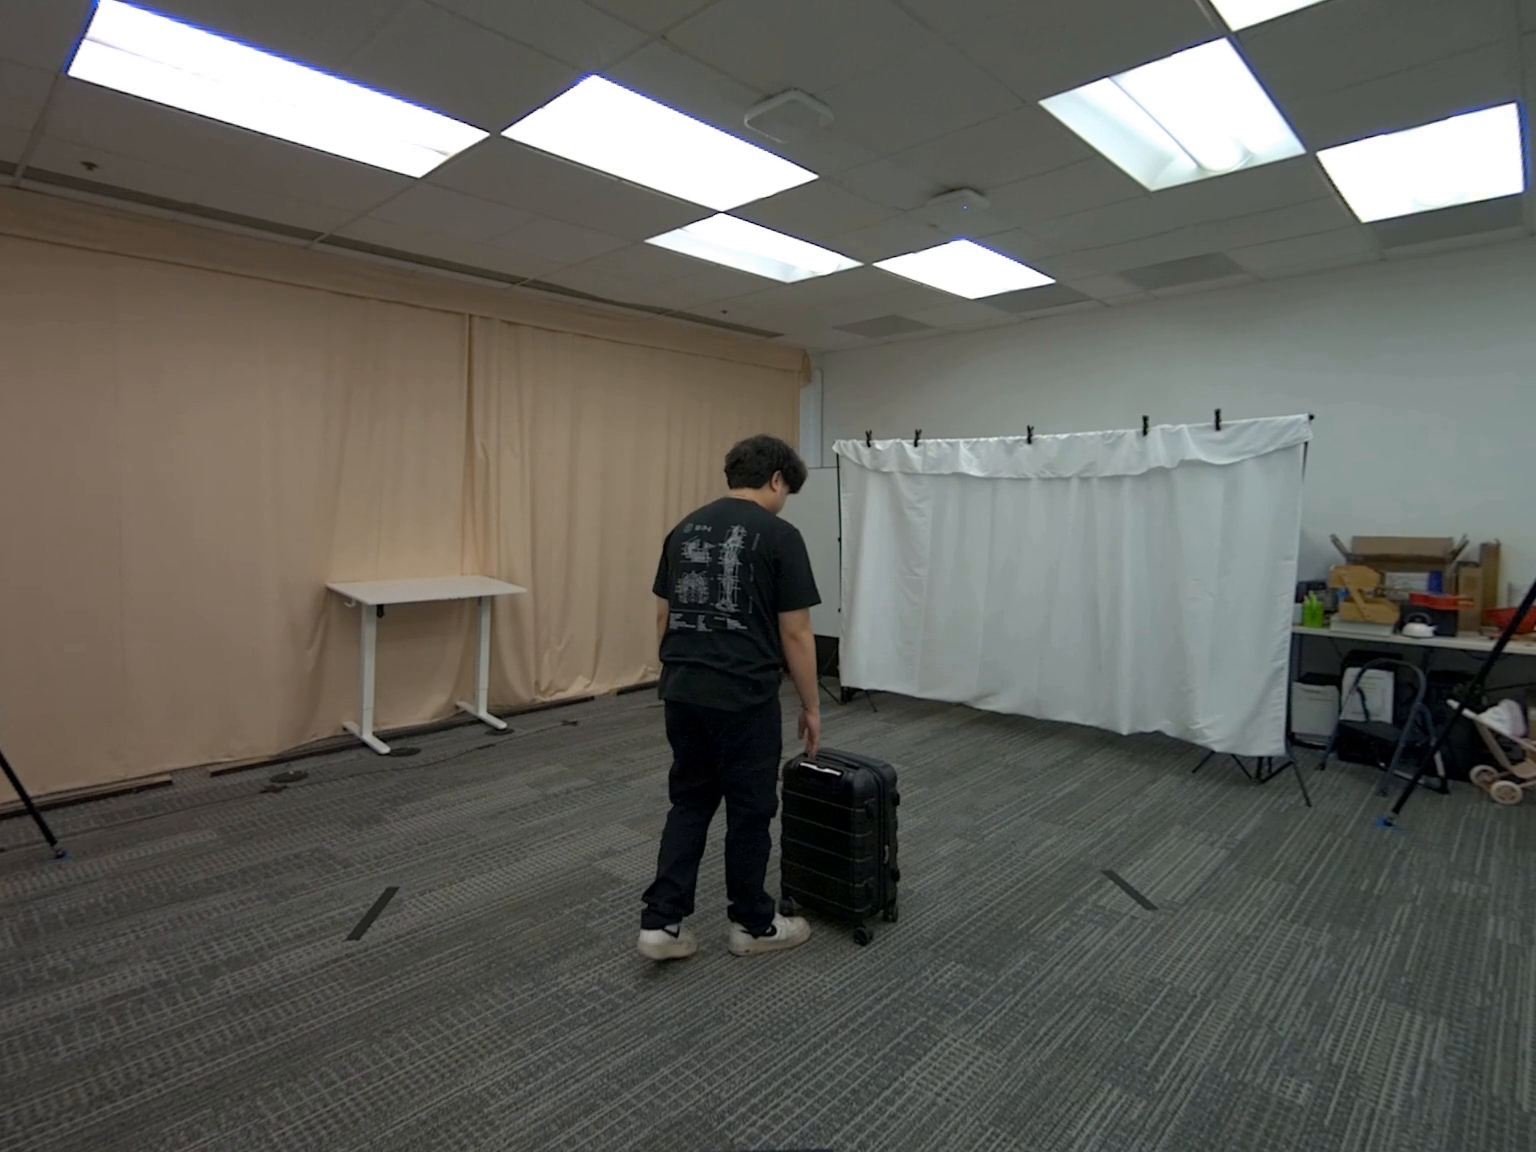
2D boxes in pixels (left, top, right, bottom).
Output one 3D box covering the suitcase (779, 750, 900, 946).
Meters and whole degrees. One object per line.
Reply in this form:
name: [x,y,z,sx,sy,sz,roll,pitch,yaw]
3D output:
suitcase: [0.242,0.878,2.857,0.388,0.549,0.240,2,2,41]
